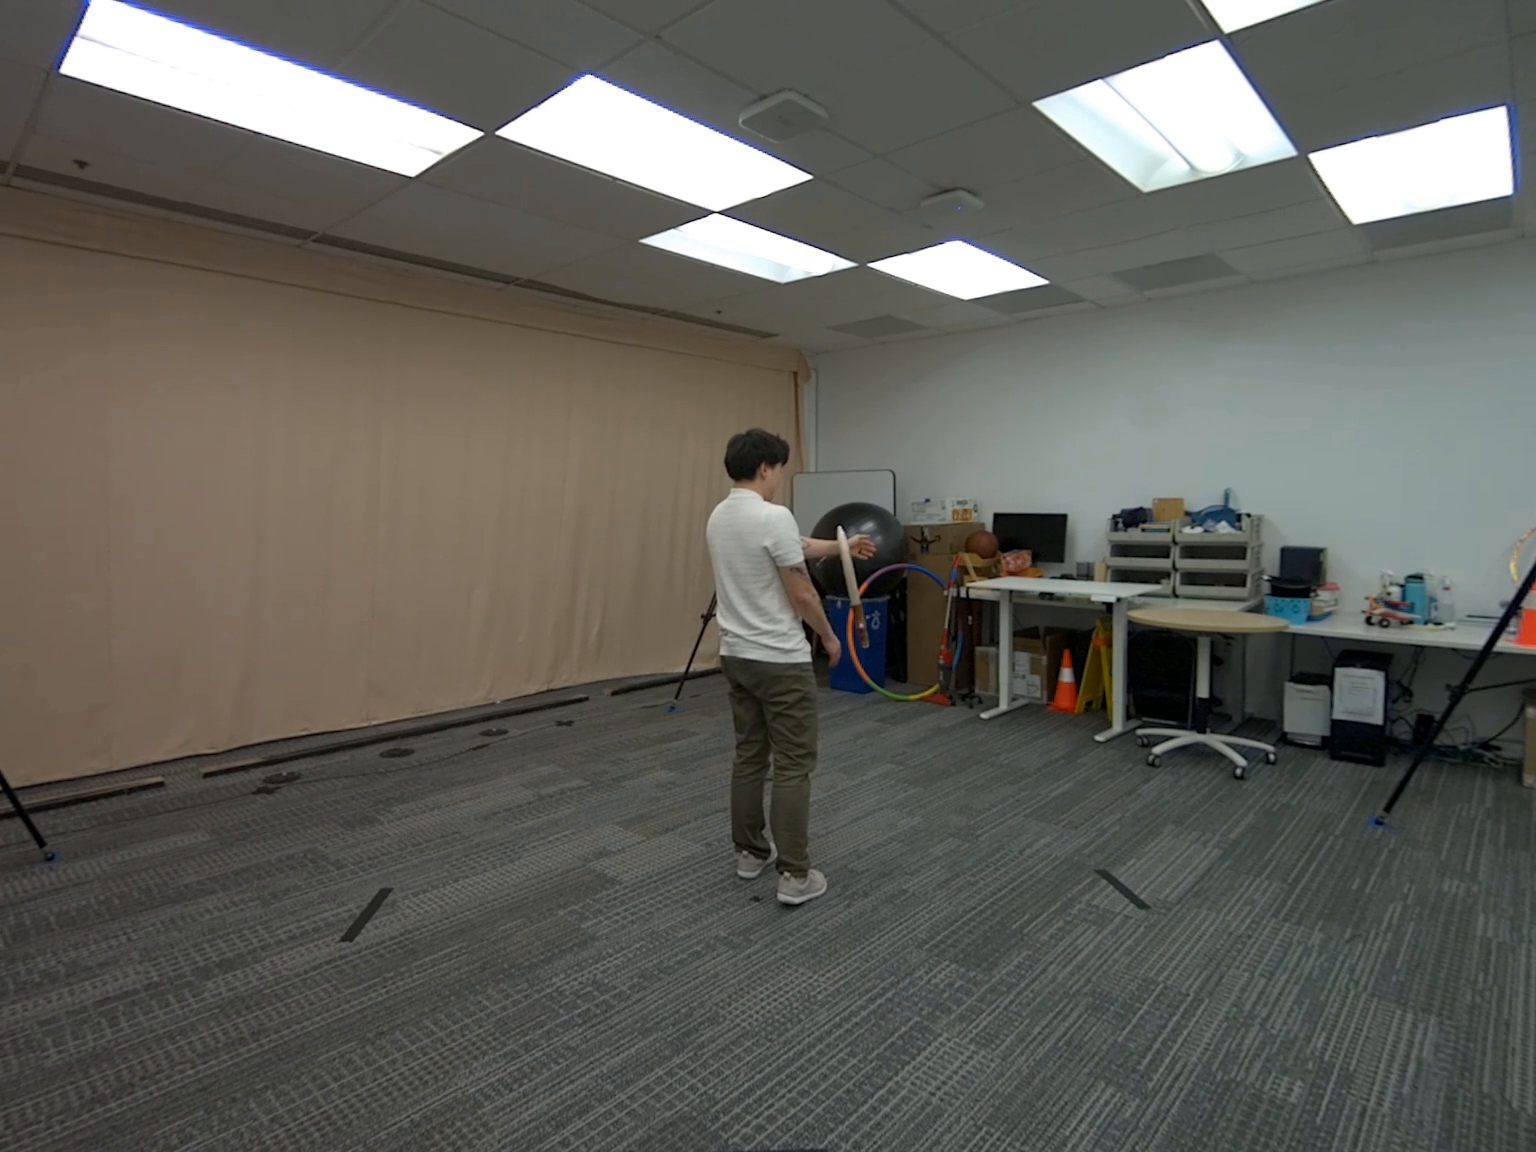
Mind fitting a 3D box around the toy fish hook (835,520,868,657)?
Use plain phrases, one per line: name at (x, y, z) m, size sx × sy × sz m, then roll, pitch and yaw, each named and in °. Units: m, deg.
toy fish hook at (0.342, 0.047, 3.460) m, size 0.049 × 0.500 × 0.225 m, roll -7°, pitch 17°, yaw 11°
